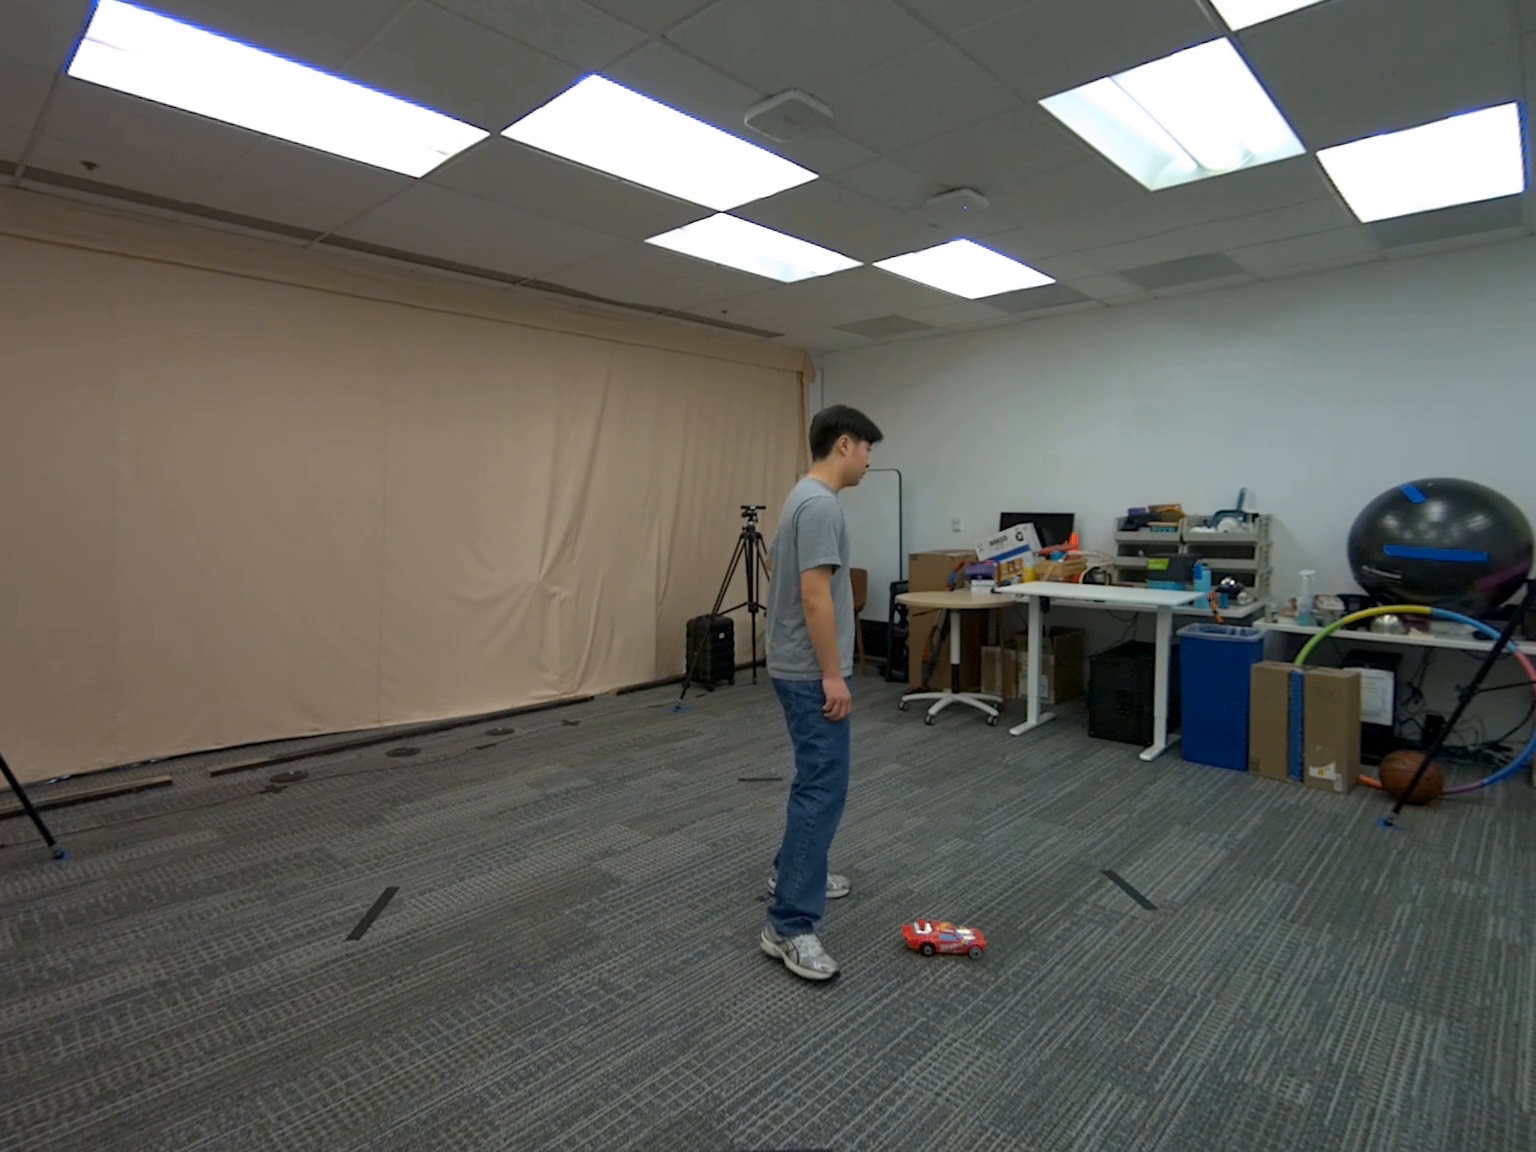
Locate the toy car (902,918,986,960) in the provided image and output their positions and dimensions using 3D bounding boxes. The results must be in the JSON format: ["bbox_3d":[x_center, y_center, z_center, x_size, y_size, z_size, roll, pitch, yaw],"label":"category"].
[{"bbox_3d":[0.553,1.142,2.634,0.255,0.083,0.130,11,5,3],"label":"toy car"}]
